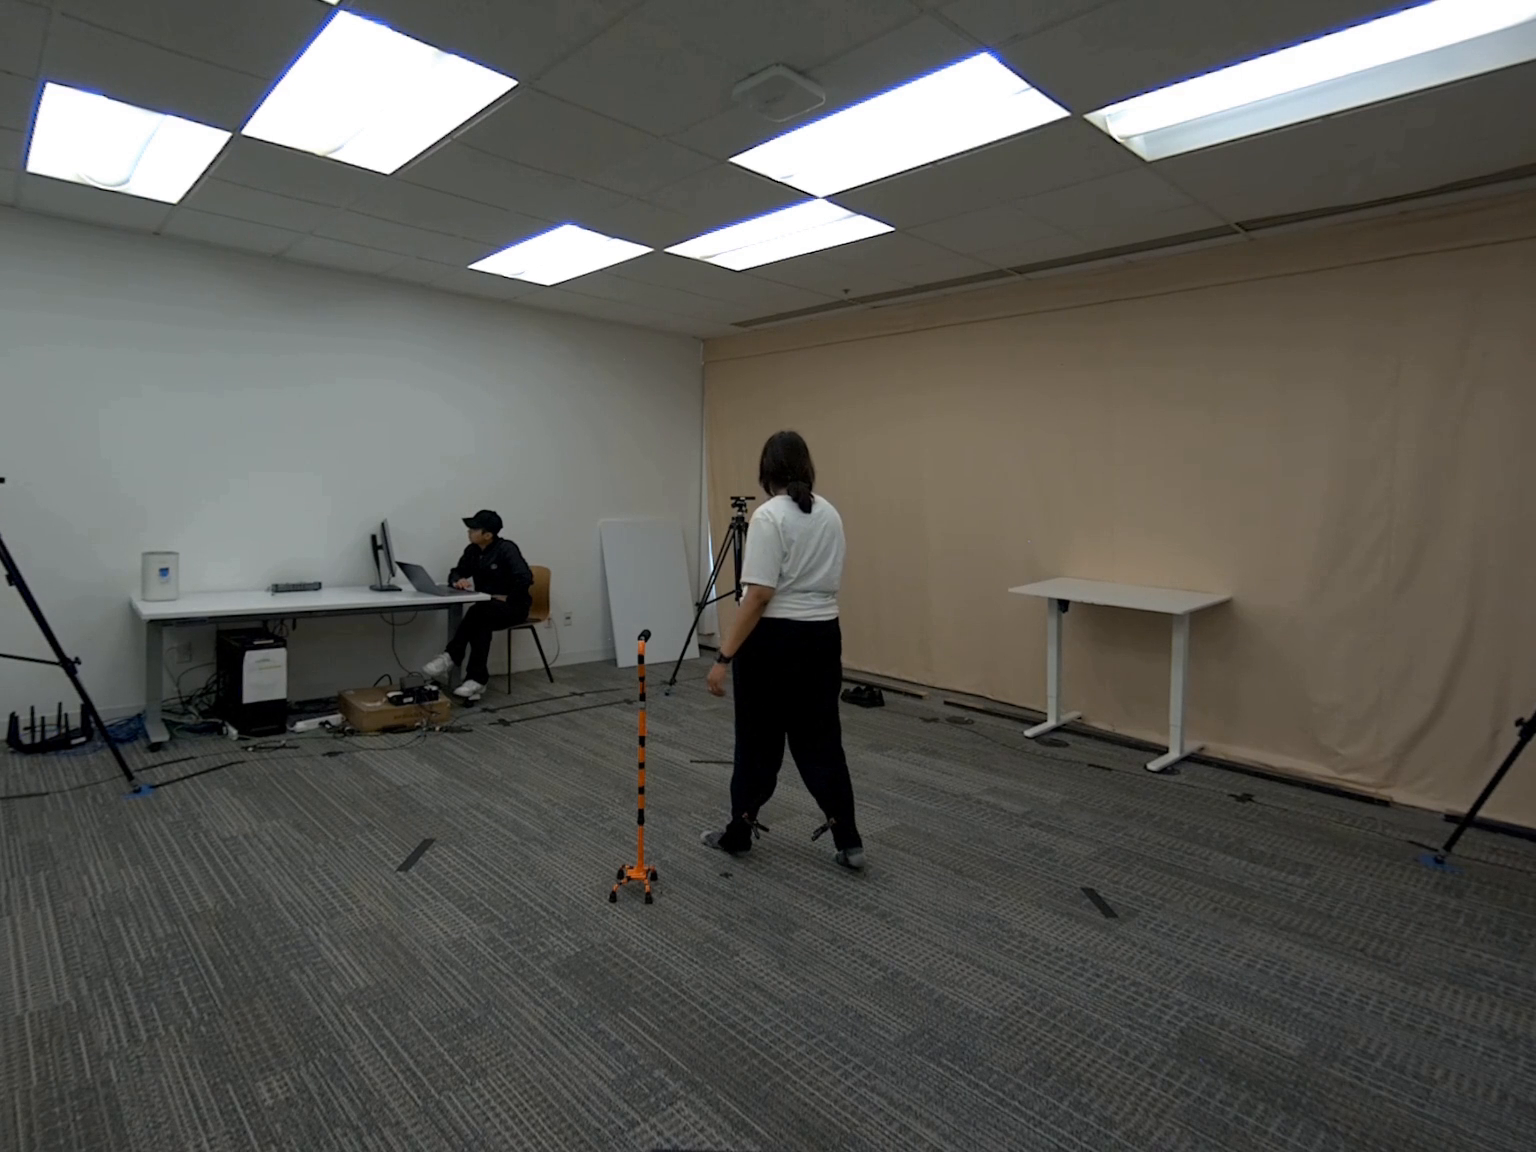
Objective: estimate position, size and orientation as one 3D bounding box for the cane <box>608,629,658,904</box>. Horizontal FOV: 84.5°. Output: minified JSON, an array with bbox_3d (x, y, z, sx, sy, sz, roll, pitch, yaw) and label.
[{"bbox_3d":[-0.464,0.662,2.947,0.151,0.906,0.207,2,3,-1],"label":"cane"}]
